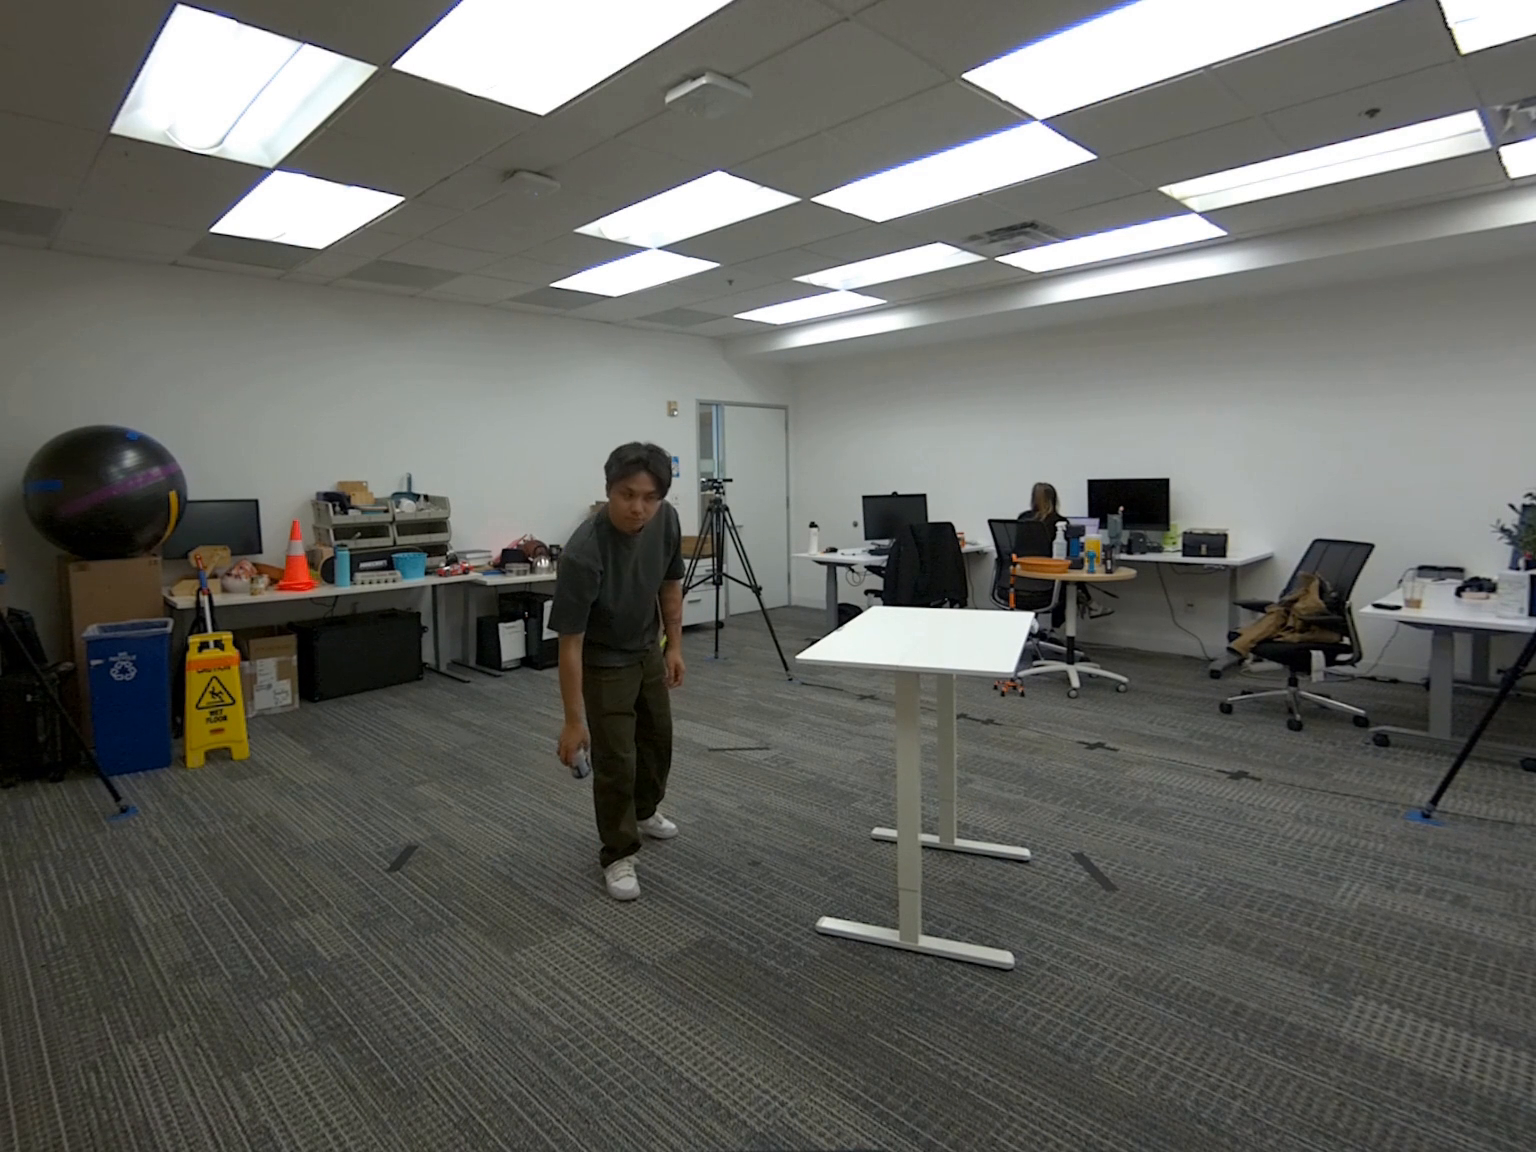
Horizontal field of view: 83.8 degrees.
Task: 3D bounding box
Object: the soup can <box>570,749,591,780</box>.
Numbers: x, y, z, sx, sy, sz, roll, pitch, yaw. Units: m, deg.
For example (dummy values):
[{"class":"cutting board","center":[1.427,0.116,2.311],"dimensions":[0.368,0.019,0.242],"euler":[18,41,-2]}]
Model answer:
[{"class":"soup can","center":[-0.617,0.607,2.773],"dimensions":[0.067,0.118,0.069],"euler":[-6,35,3]}]
